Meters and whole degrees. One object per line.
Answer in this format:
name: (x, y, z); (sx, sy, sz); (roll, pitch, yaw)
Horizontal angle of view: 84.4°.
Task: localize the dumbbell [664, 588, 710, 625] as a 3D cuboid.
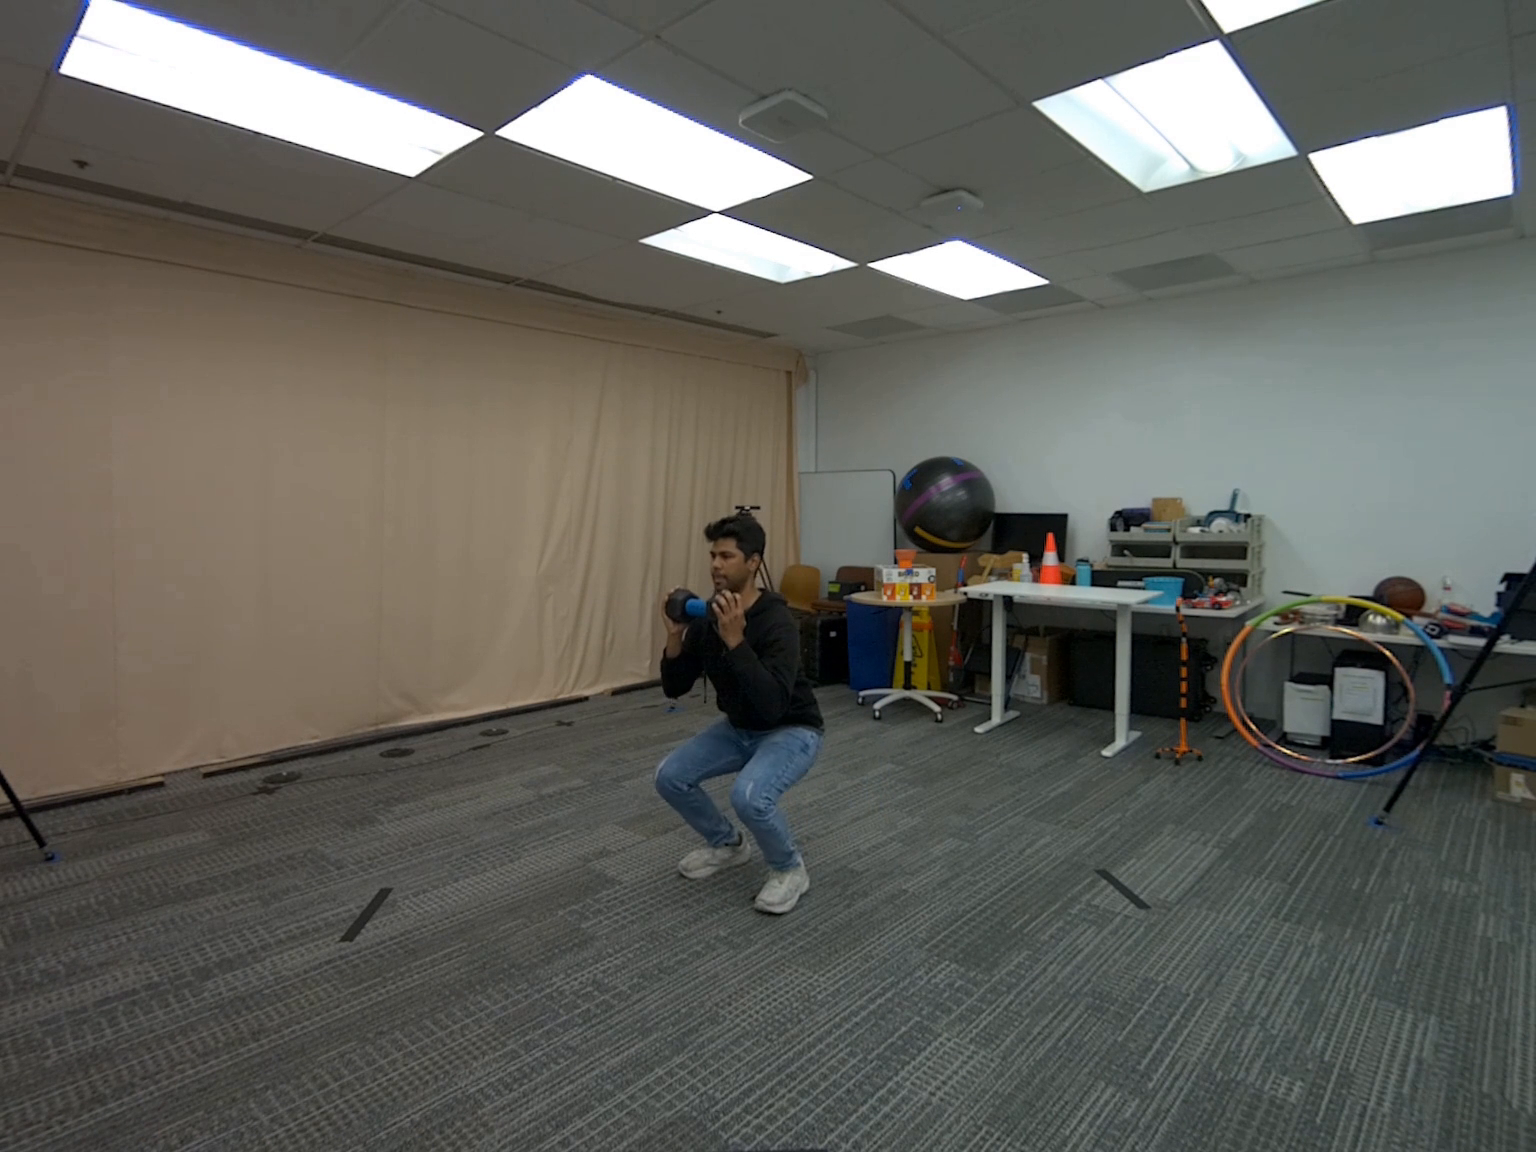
dumbbell: (-0.214, 0.108, 2.906); (0.105, 0.122, 0.304); (-3, 7, -44)
